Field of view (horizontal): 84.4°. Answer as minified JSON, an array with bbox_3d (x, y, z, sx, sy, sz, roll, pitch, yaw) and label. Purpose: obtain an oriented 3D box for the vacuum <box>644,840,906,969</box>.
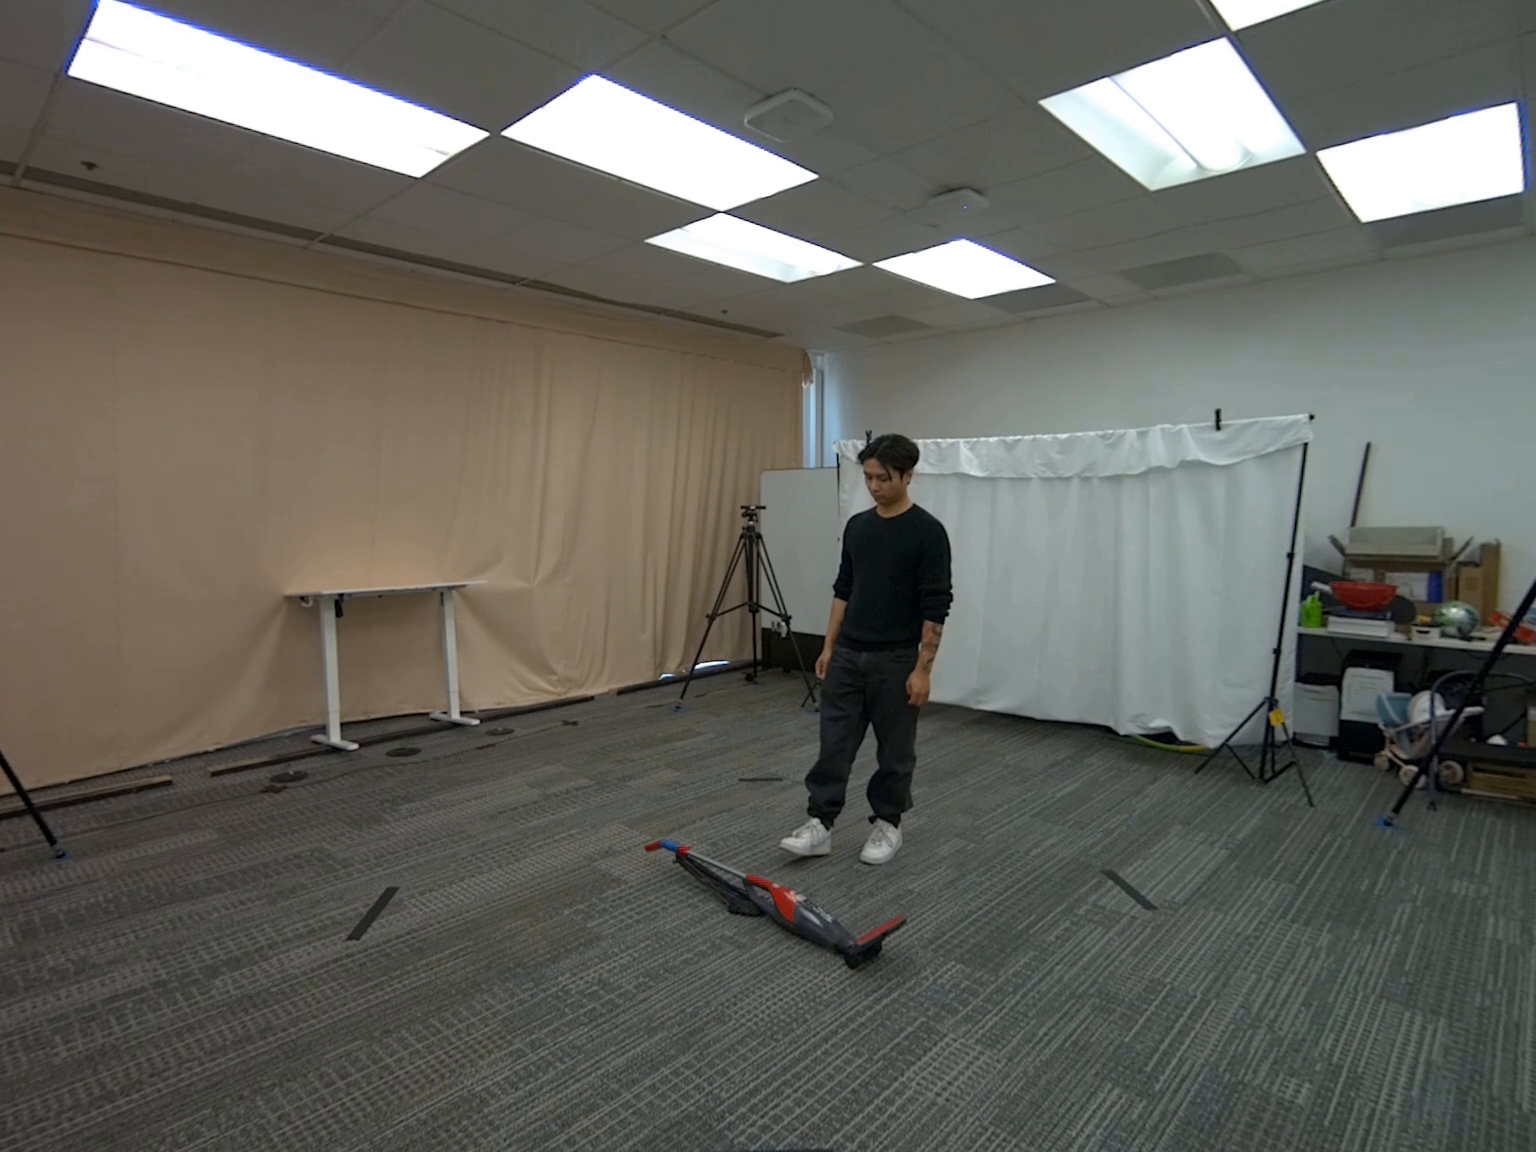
[{"bbox_3d":[-0.070,1.091,2.907,1.084,0.144,0.244,3,3,43],"label":"vacuum"}]
